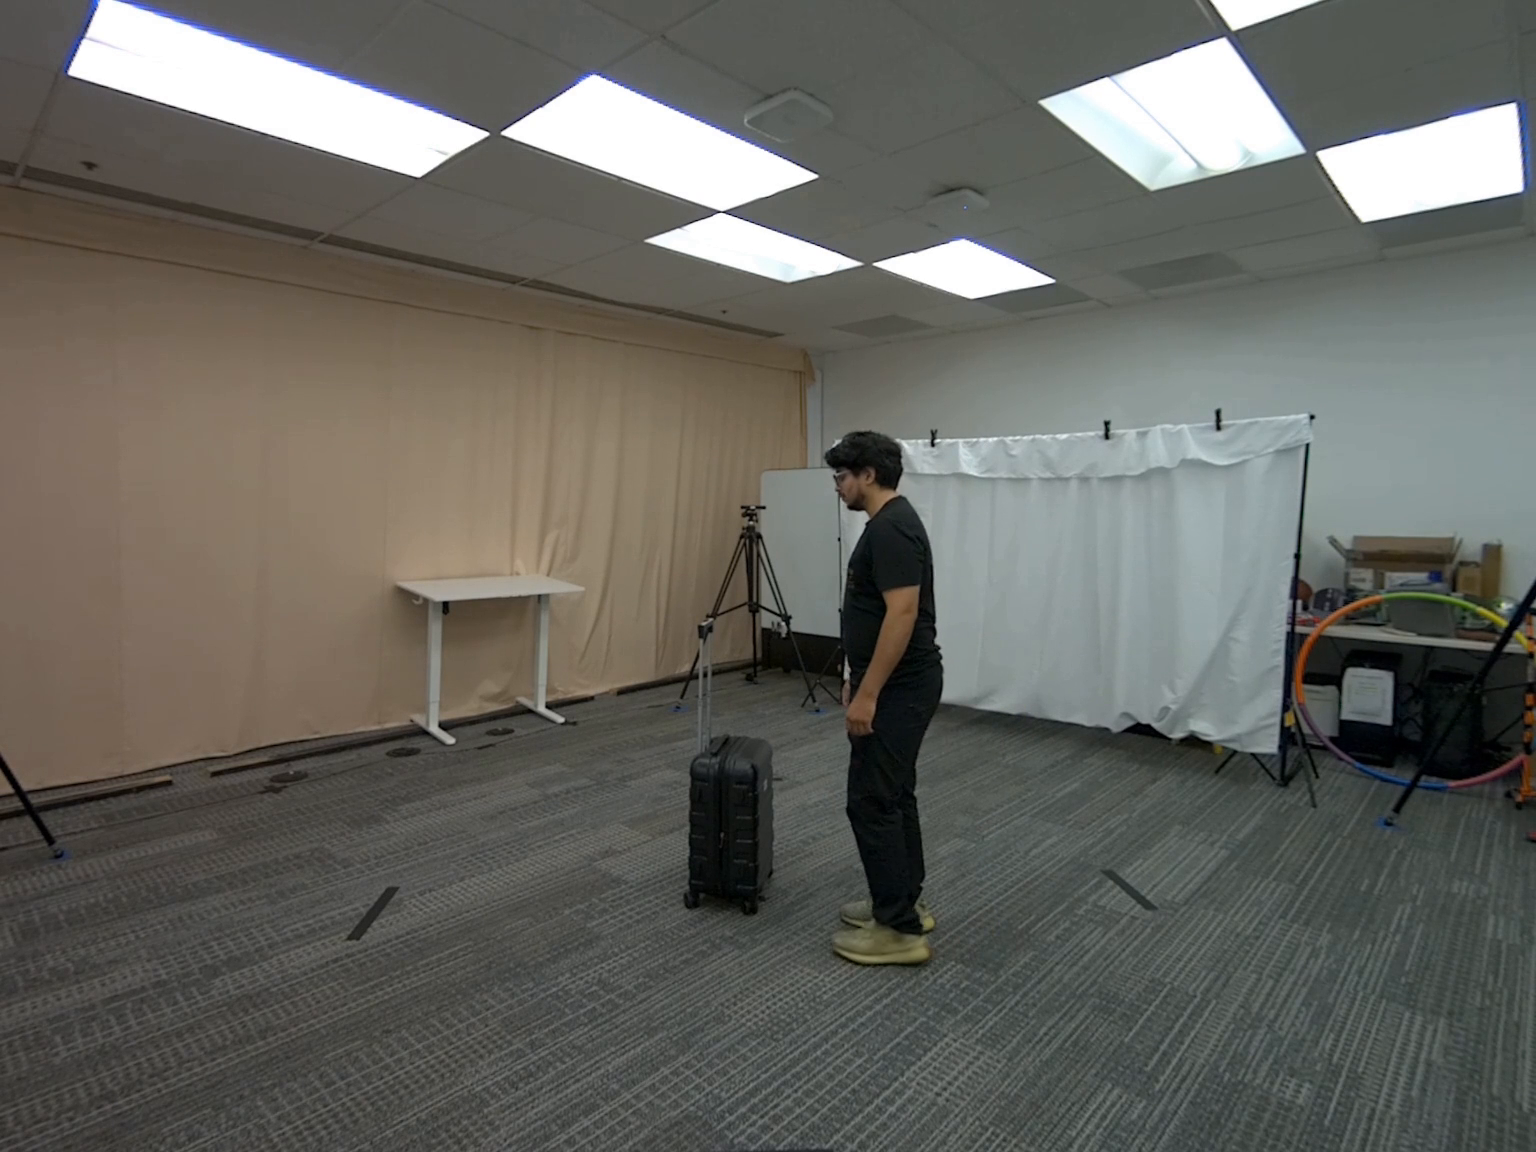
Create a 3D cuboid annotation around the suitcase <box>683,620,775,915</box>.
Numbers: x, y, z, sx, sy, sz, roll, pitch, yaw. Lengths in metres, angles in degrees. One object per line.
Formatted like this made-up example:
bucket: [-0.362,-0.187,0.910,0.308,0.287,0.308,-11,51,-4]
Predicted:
suitcase: [-0.119,0.664,3.003,0.261,0.976,0.380,3,5,11]
